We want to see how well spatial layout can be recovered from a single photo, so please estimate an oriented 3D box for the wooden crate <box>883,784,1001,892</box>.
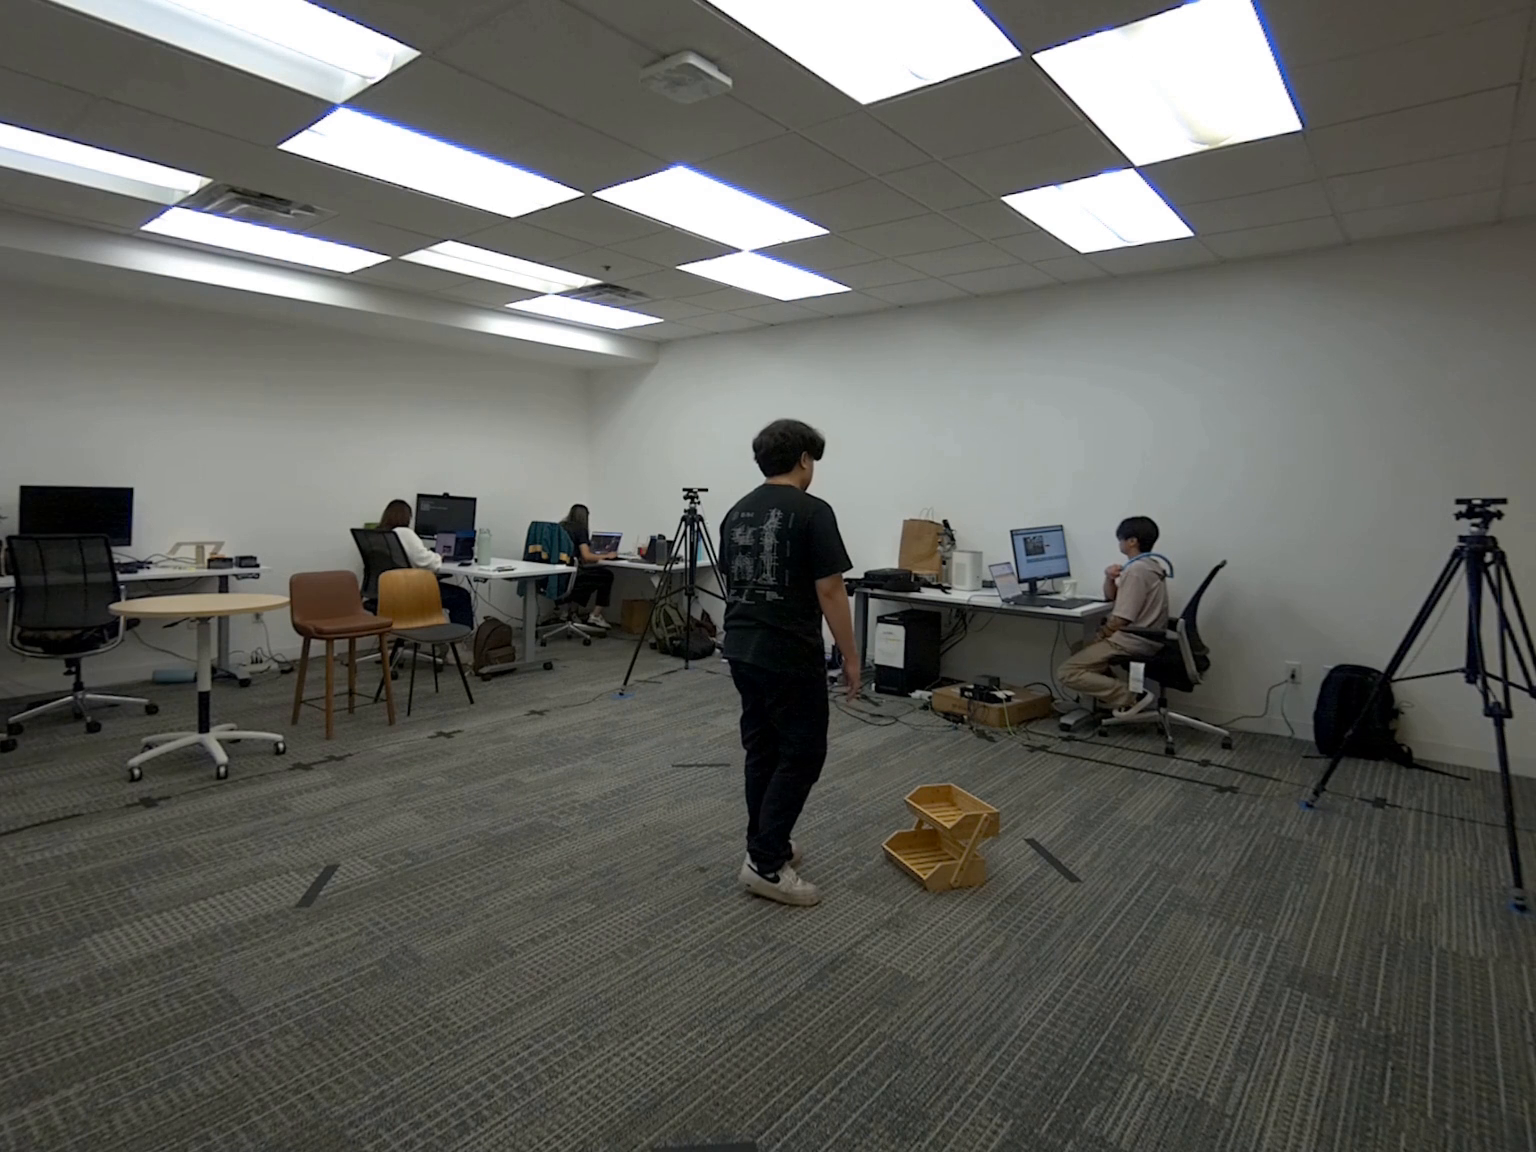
[{"bbox_3d":[0.627,0.952,3.155,0.296,0.272,0.332,1,5,-21],"label":"wooden crate"}]
